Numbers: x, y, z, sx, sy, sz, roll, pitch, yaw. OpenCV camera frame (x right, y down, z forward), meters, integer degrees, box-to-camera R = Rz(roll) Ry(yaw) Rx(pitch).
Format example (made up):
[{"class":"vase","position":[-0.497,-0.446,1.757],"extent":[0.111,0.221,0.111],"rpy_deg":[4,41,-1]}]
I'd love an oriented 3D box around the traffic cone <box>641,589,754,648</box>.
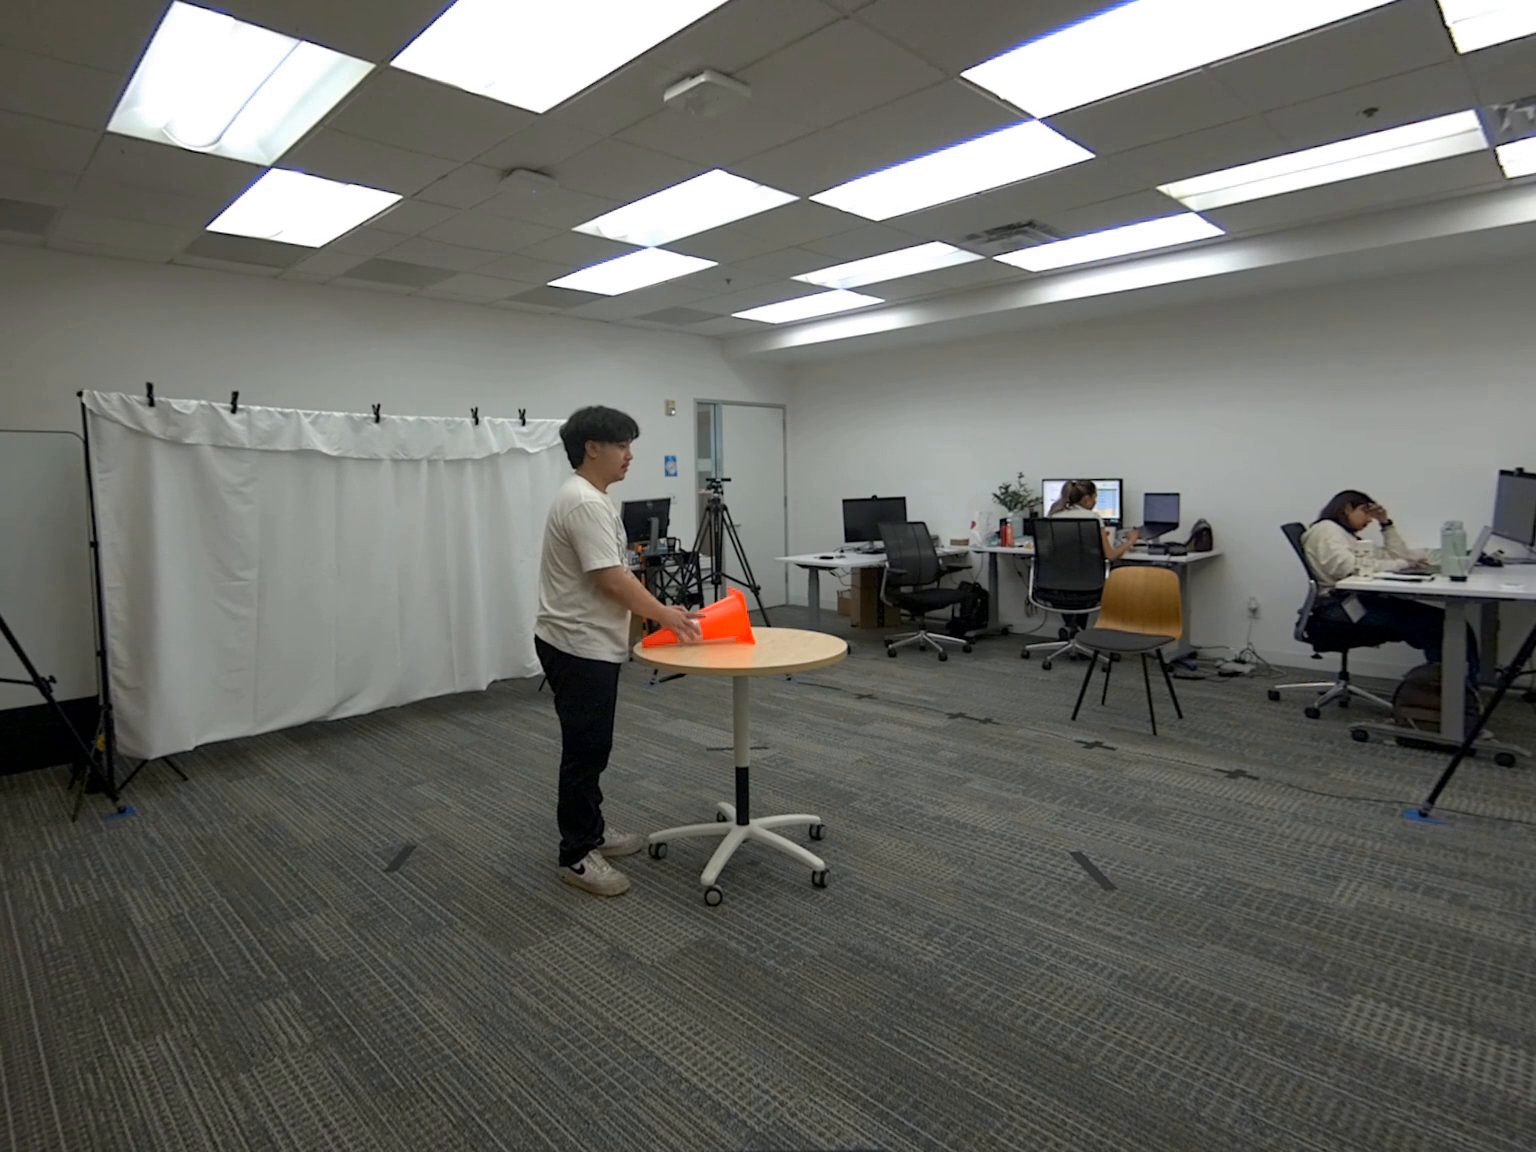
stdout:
[{"class":"traffic cone","position":[-0.277,0.192,3.106],"extent":[0.380,0.202,0.208],"rpy_deg":[-15,12,-13]}]
